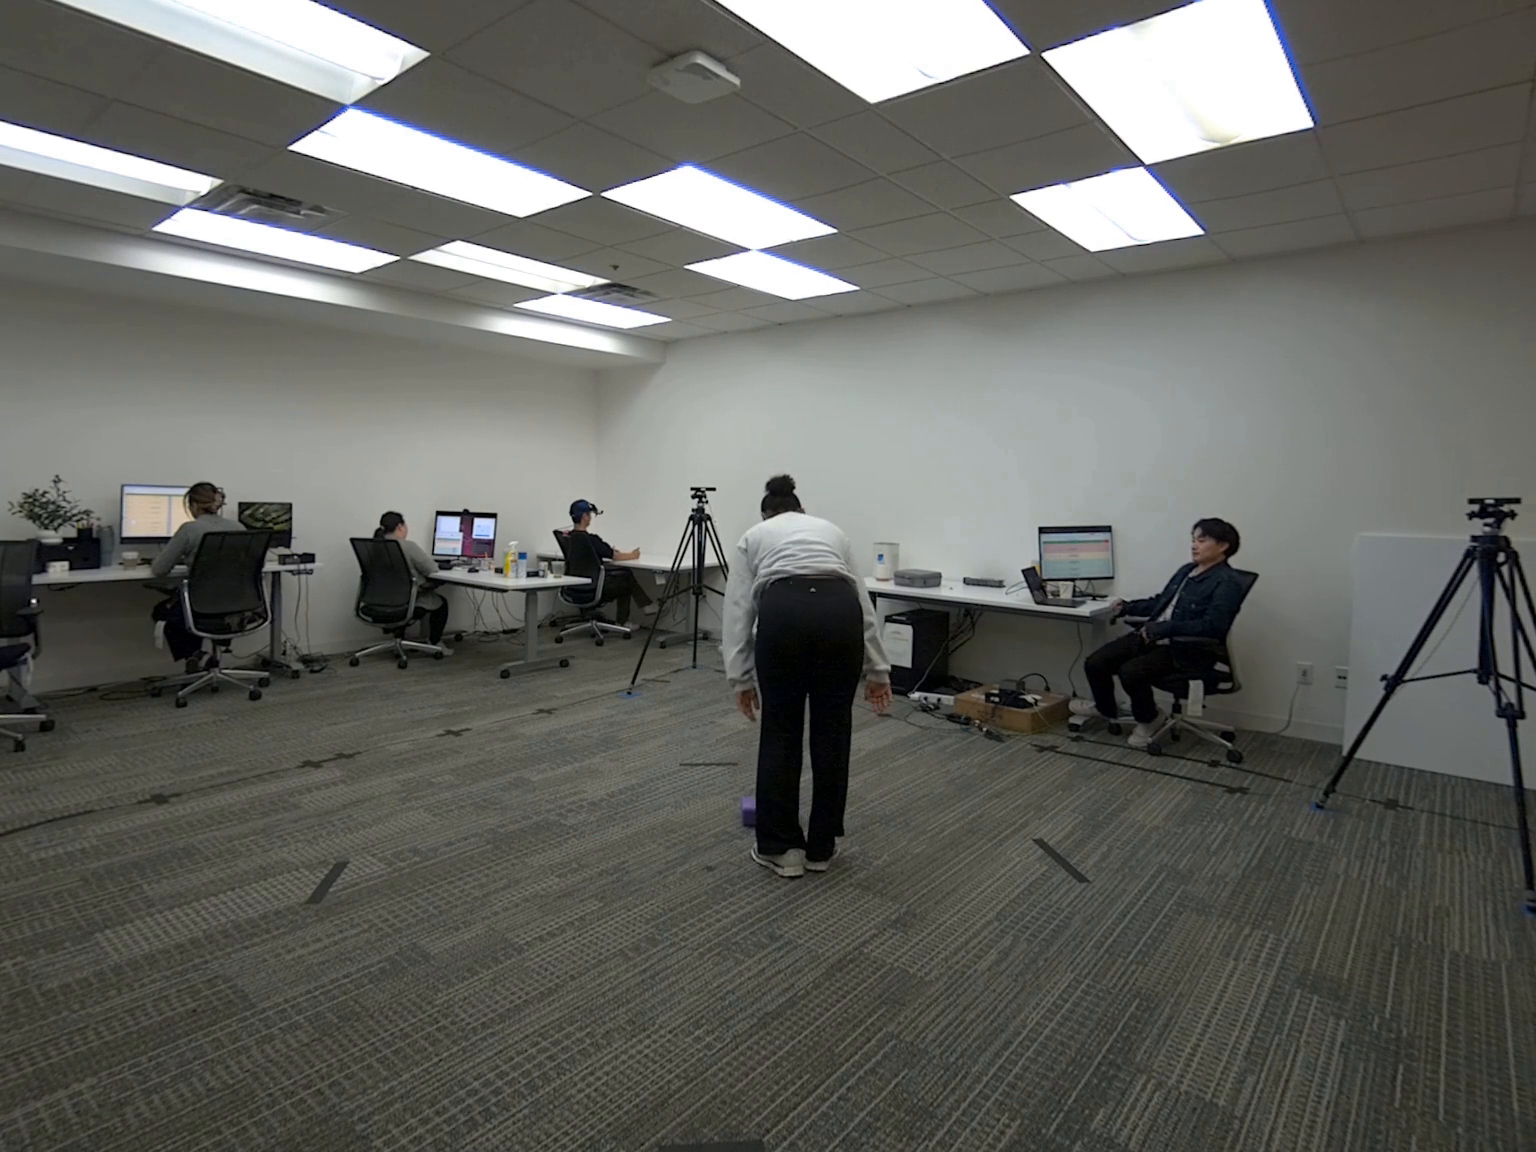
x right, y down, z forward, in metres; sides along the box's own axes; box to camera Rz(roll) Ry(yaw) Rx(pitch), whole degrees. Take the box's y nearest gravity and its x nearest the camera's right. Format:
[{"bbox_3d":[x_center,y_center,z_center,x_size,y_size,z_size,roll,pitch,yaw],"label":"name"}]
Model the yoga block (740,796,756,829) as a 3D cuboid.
[{"bbox_3d":[-0.006,0.981,3.570,0.229,0.076,0.150,1,6,-2],"label":"yoga block"}]
